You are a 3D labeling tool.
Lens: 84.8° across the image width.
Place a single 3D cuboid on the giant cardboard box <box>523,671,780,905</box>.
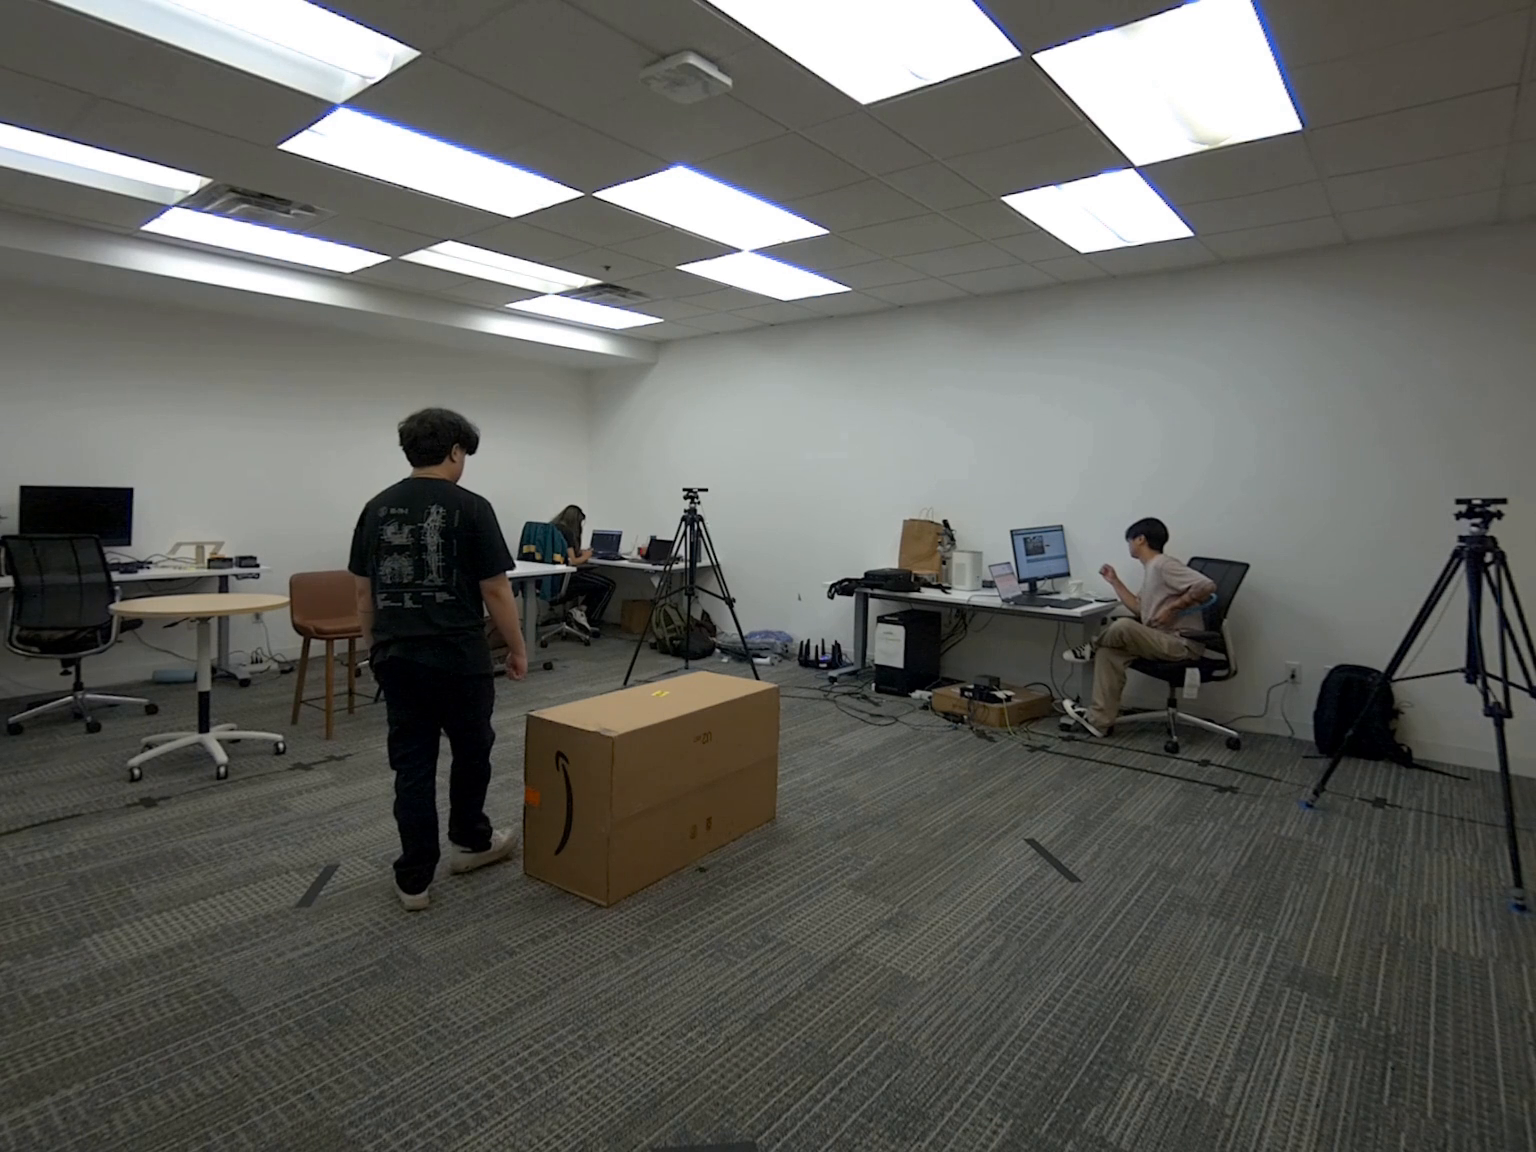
[{"bbox_3d":[-0.422,0.761,3.322,0.461,0.582,0.998,3,4,34],"label":"giant cardboard box"}]
